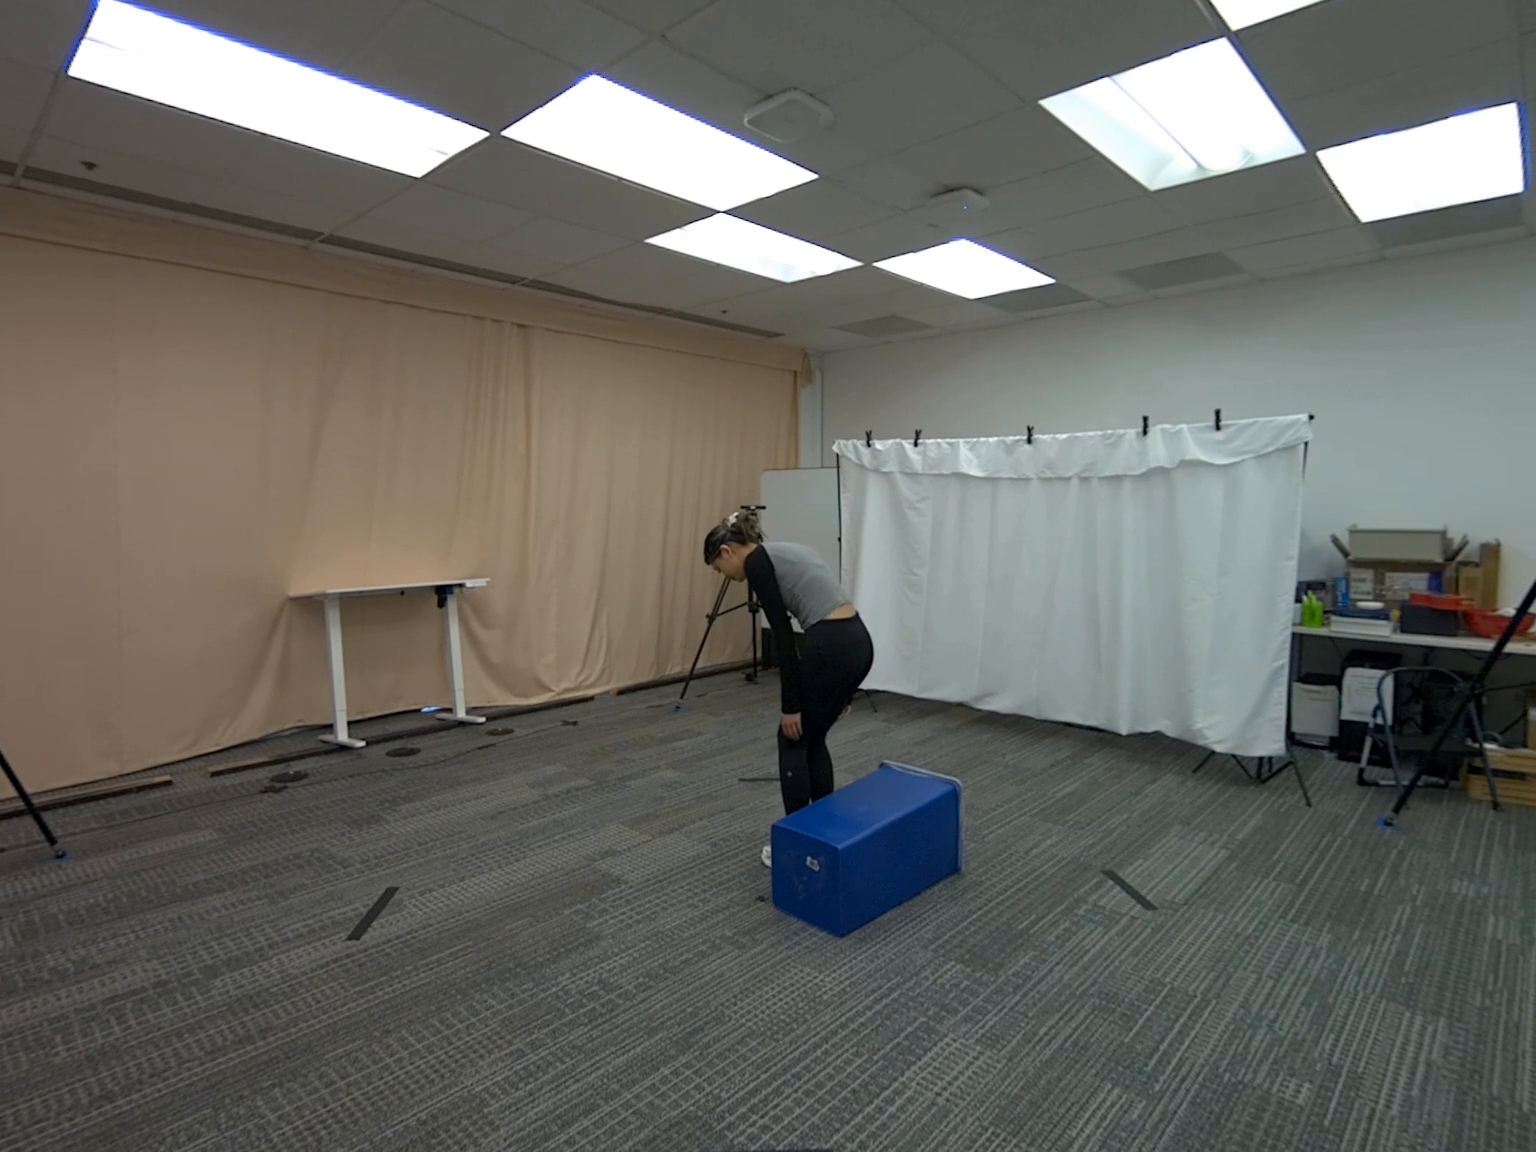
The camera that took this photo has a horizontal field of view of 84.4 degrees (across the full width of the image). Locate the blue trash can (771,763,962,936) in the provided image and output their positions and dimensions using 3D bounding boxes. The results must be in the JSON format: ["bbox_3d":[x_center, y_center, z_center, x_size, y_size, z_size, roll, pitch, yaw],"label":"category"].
[{"bbox_3d":[0.369,0.964,3.040,0.391,0.373,0.692,4,8,44],"label":"blue trash can"}]
